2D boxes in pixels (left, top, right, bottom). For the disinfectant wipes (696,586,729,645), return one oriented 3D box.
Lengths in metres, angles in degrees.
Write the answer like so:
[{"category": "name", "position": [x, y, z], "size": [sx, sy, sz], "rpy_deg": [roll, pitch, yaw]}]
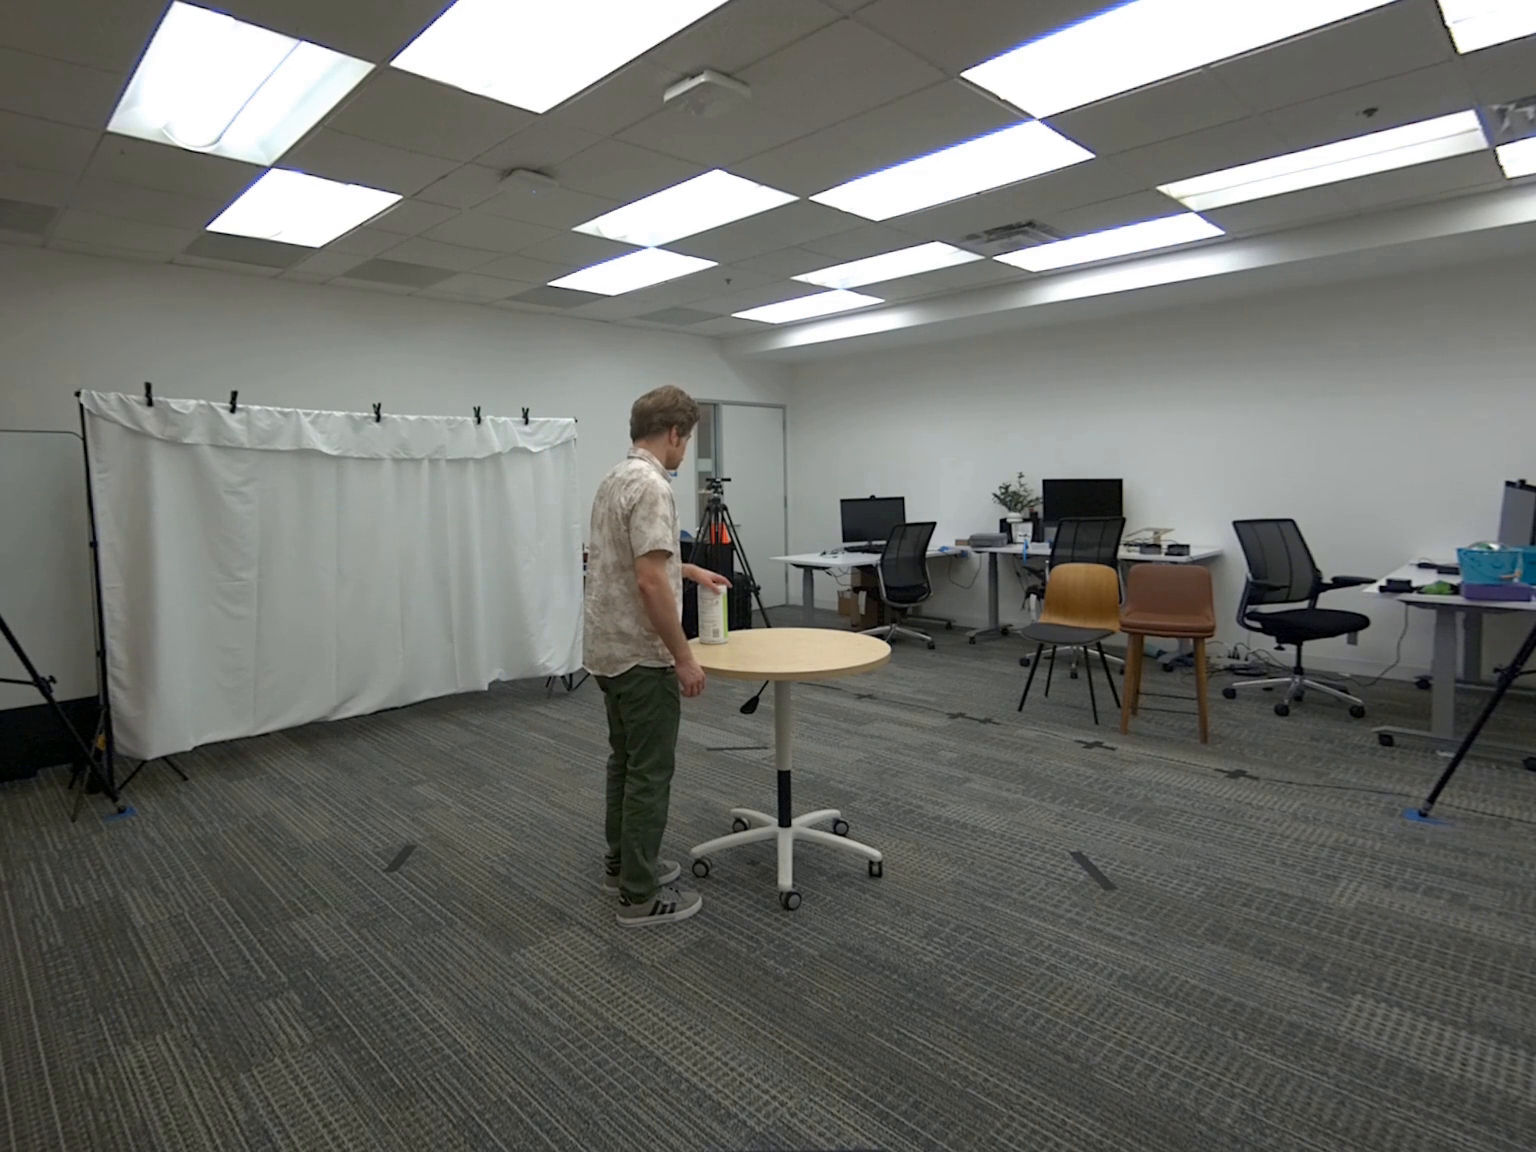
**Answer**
[{"category": "disinfectant wipes", "position": [-0.199, 0.144, 3.178], "size": [0.118, 0.217, 0.118], "rpy_deg": [-2, 3, -2]}]
